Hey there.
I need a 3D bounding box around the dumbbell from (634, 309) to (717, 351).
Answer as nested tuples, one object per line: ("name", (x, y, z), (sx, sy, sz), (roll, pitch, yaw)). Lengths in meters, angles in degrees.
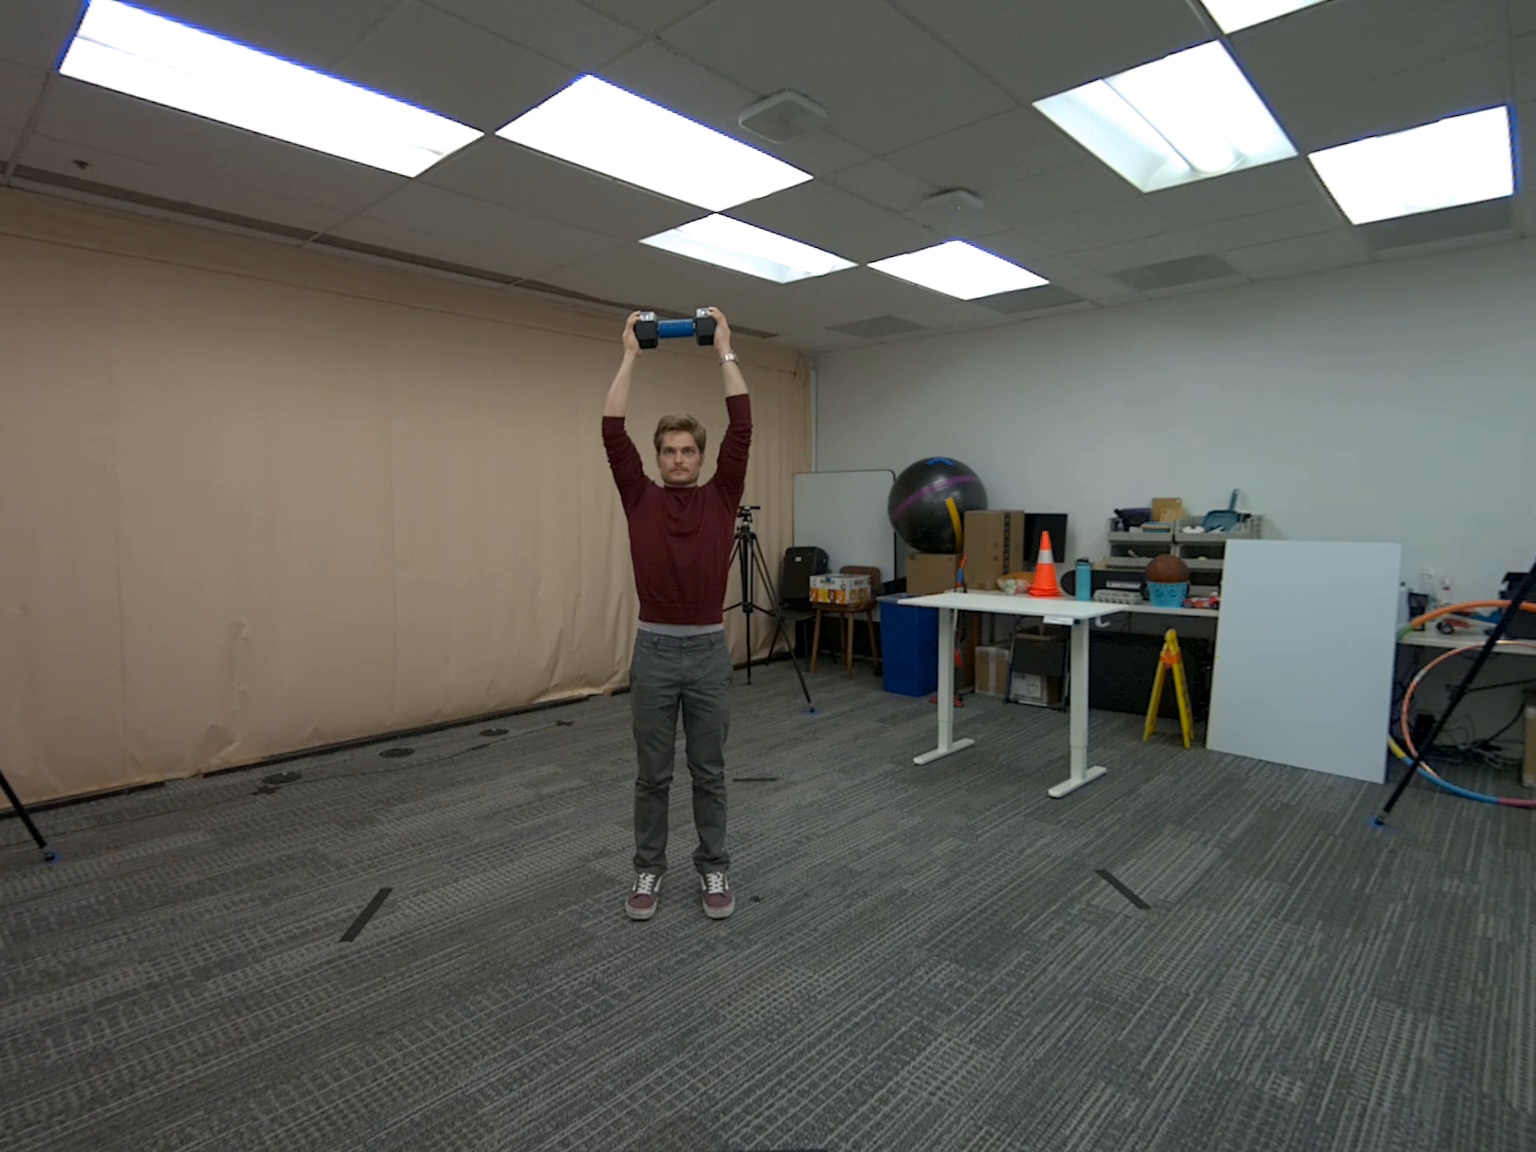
("dumbbell", (-0.313, -0.853, 2.907), (0.294, 0.106, 0.125), (-2, 43, 2))
